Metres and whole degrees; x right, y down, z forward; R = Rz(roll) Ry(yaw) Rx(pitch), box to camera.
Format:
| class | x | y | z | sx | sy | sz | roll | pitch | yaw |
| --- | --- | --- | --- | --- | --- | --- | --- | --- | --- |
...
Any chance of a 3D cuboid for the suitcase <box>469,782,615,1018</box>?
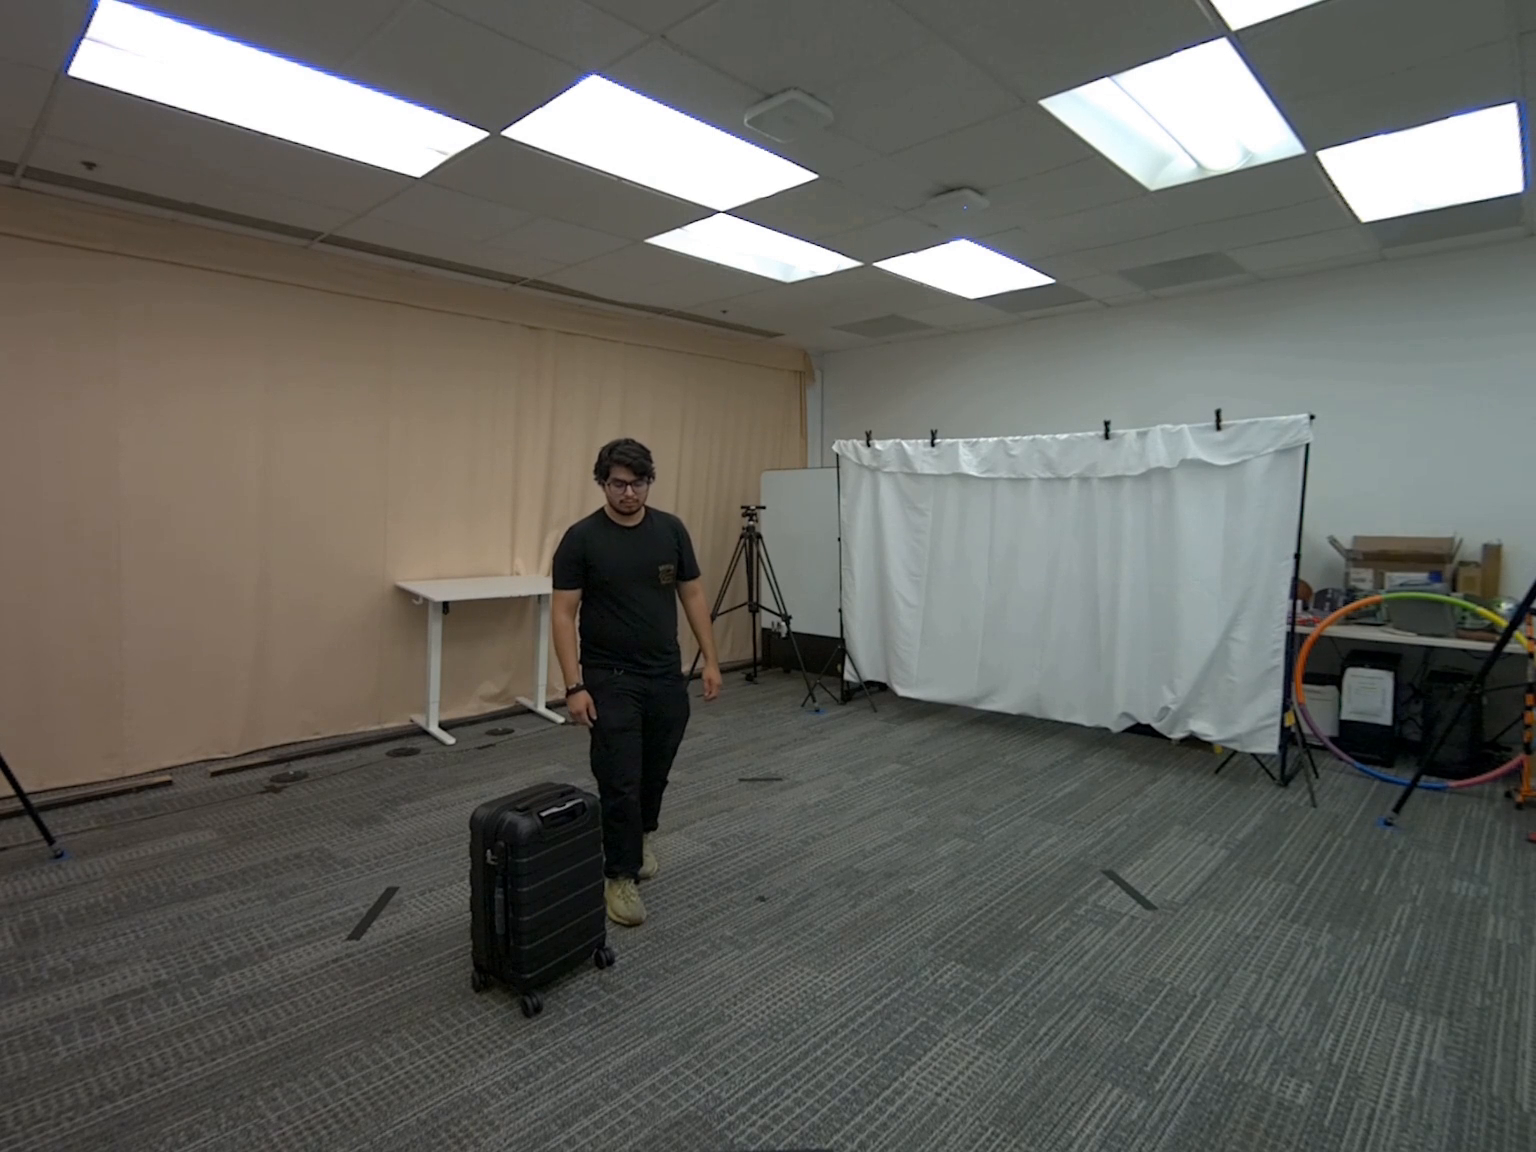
| class | x | y | z | sx | sy | sz | roll | pitch | yaw |
| --- | --- | --- | --- | --- | --- | --- | --- | --- | --- |
| suitcase | -0.682 | 0.915 | 2.493 | 0.256 | 0.549 | 0.365 | -1 | 1 | 33 |
